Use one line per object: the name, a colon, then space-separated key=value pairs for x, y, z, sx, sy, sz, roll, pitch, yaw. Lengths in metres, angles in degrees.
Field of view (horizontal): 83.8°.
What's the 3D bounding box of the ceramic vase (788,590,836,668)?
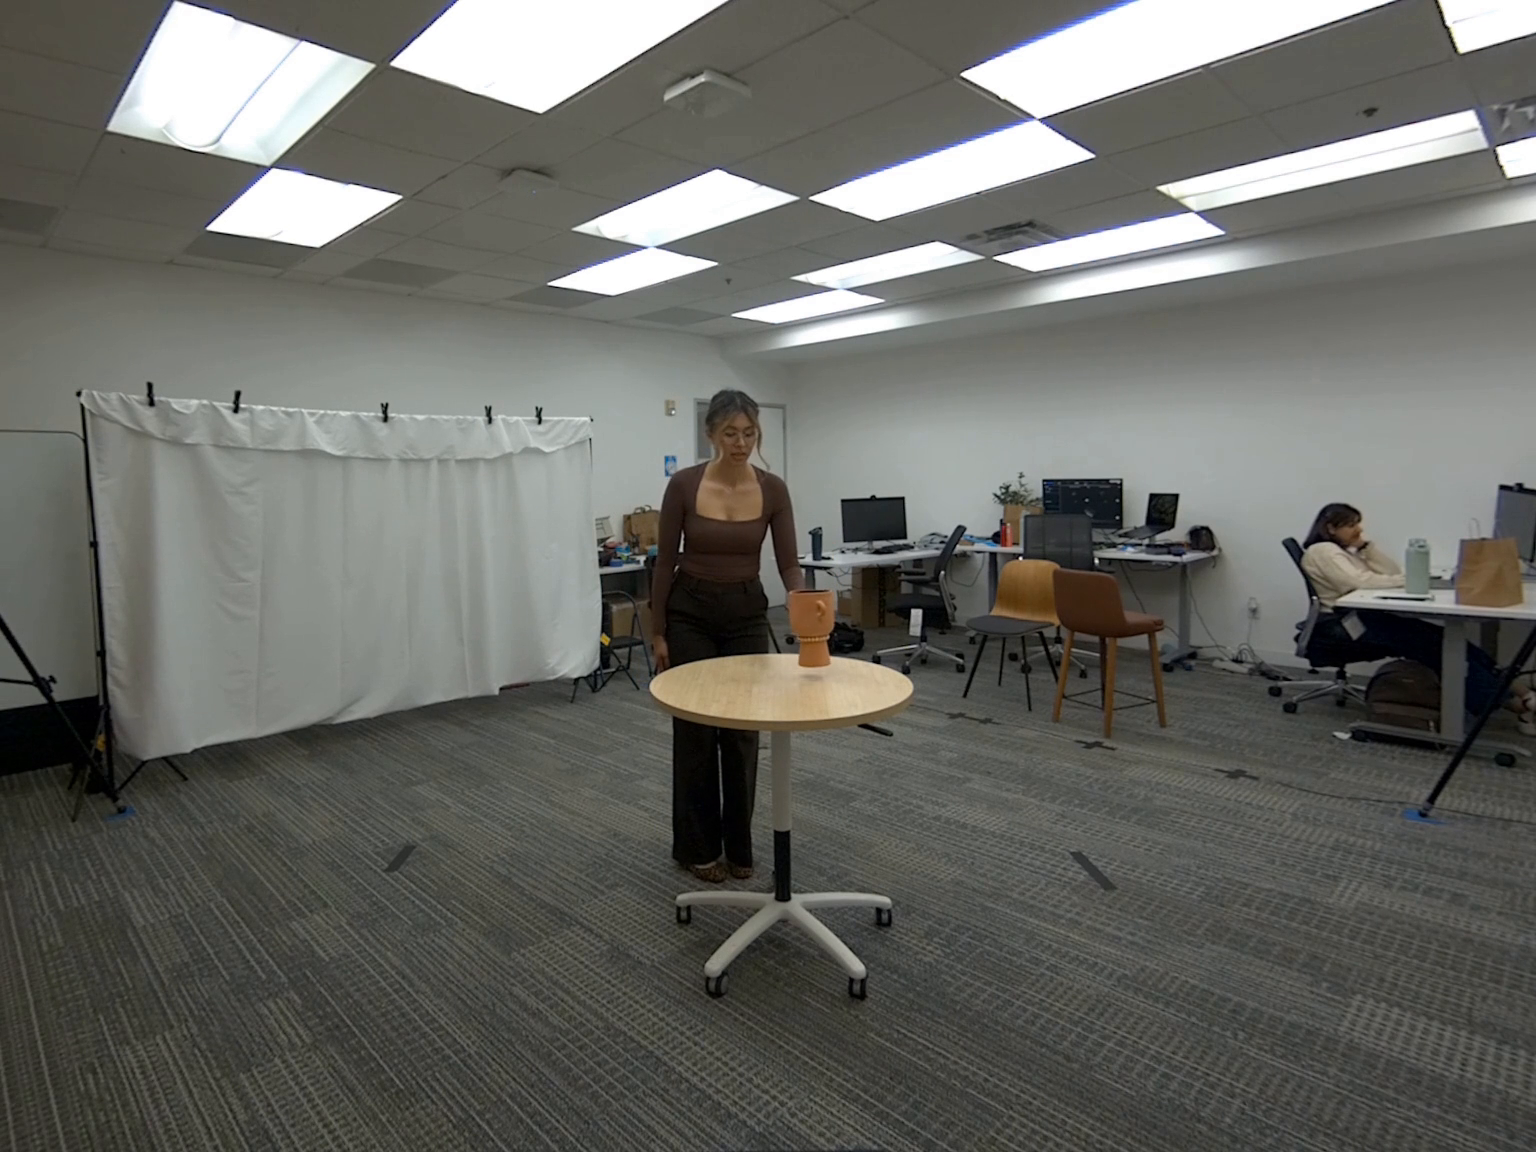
ceramic vase: x=0.139 y=0.154 z=2.563 sx=0.137 sy=0.219 sz=0.156 roll=-1 pitch=2 yaw=21
